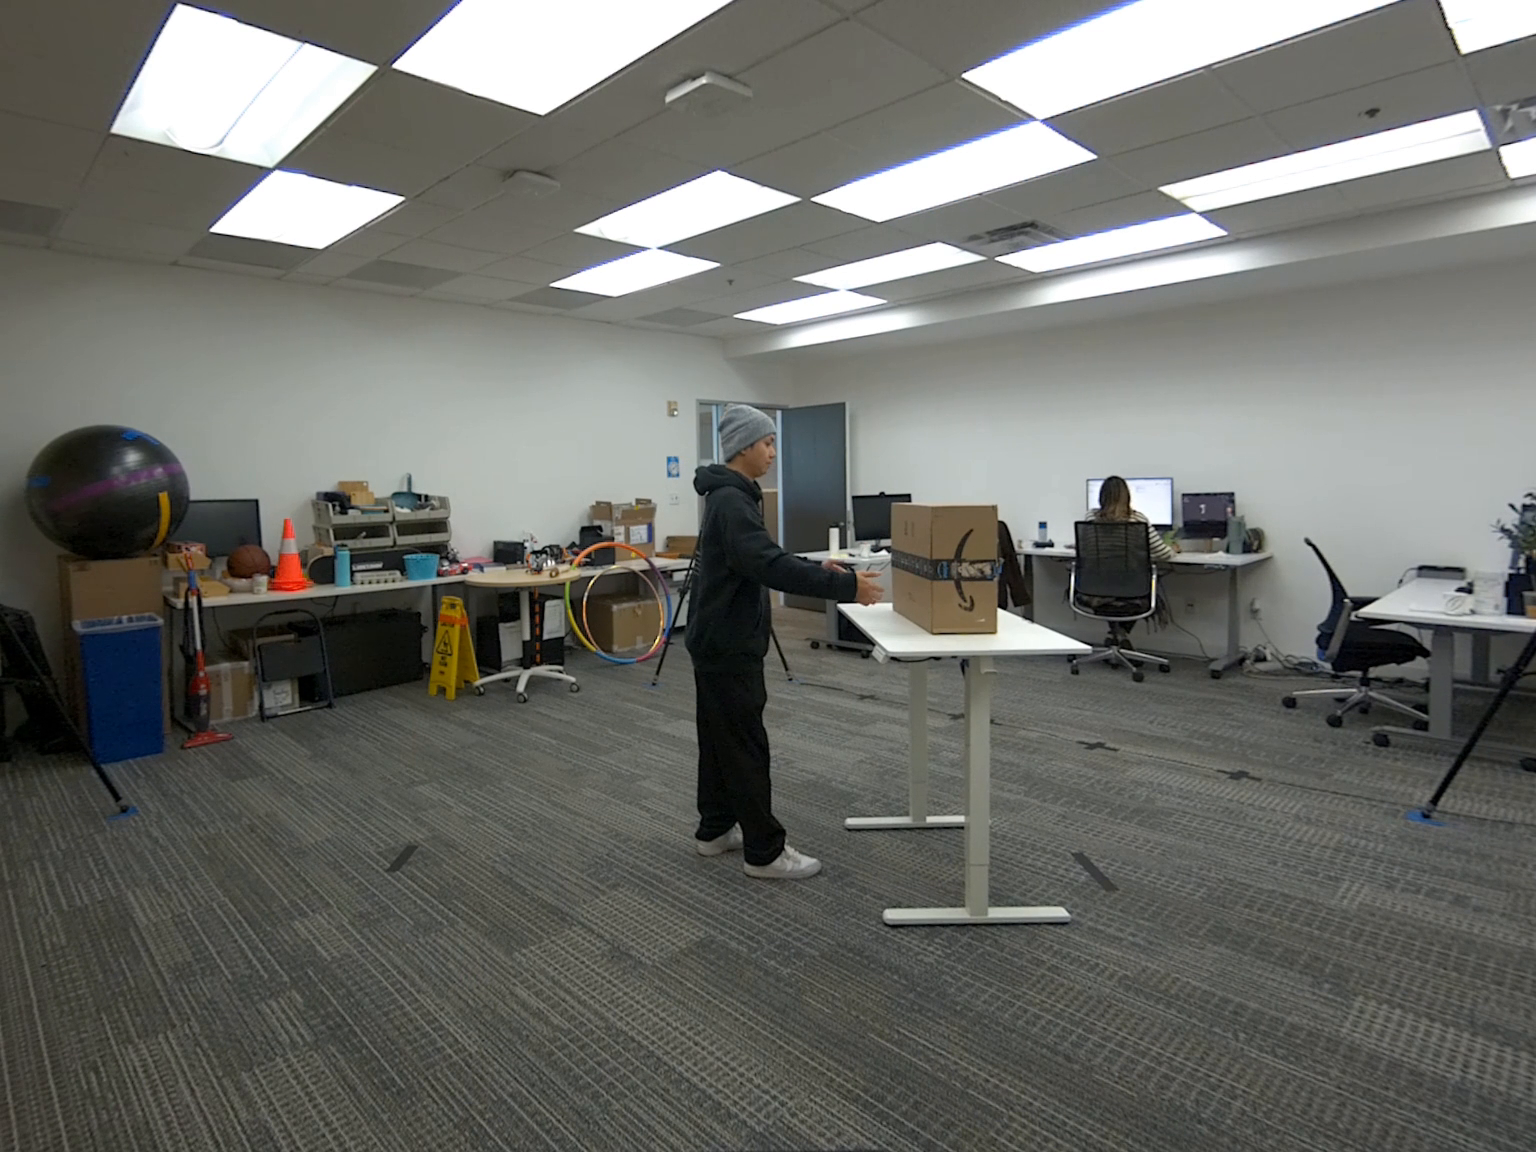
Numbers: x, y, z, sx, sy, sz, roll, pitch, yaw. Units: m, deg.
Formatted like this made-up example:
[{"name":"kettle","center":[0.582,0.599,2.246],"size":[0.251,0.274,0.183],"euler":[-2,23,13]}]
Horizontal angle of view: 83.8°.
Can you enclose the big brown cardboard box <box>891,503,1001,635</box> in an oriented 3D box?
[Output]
[{"name":"big brown cardboard box","center":[0.607,-0.048,3.017],"size":[0.232,0.416,0.593],"euler":[0,5,-5]}]
